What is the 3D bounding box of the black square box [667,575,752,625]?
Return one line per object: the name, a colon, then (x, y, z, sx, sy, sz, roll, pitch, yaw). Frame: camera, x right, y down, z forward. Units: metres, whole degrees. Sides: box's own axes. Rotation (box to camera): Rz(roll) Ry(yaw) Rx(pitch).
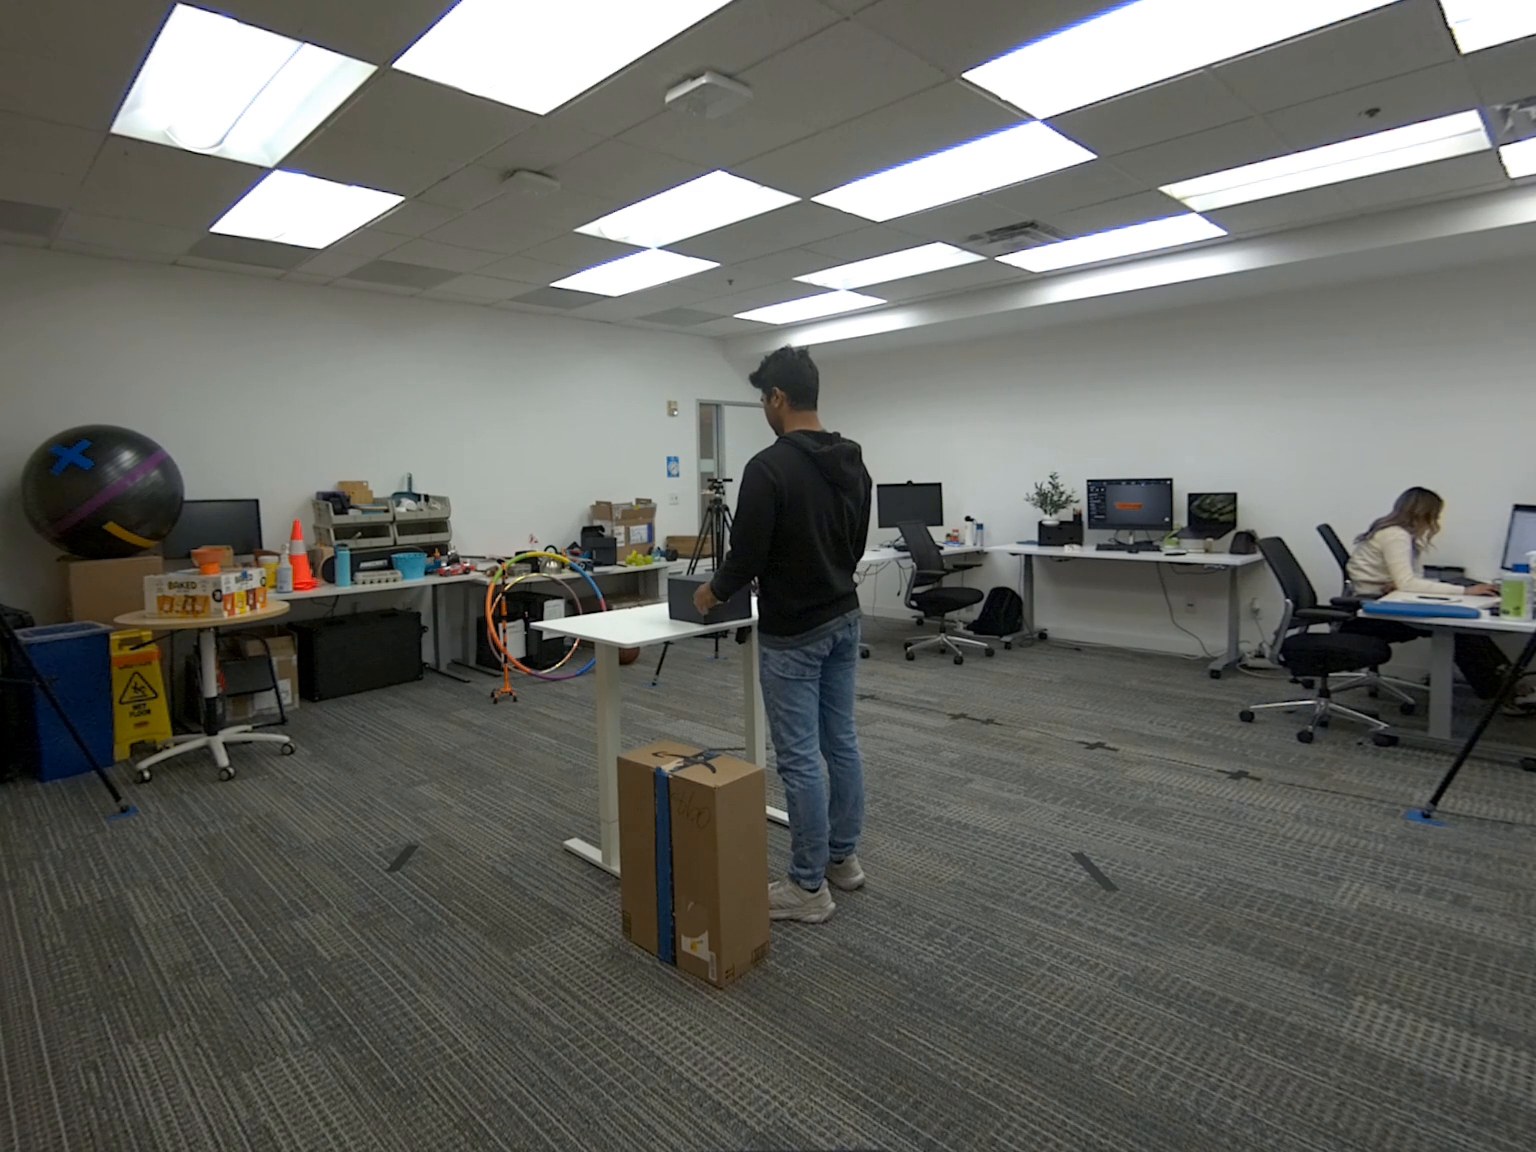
black square box: (-0.218, 0.078, 3.164, 0.222, 0.155, 0.223, -7, 7, -43)
